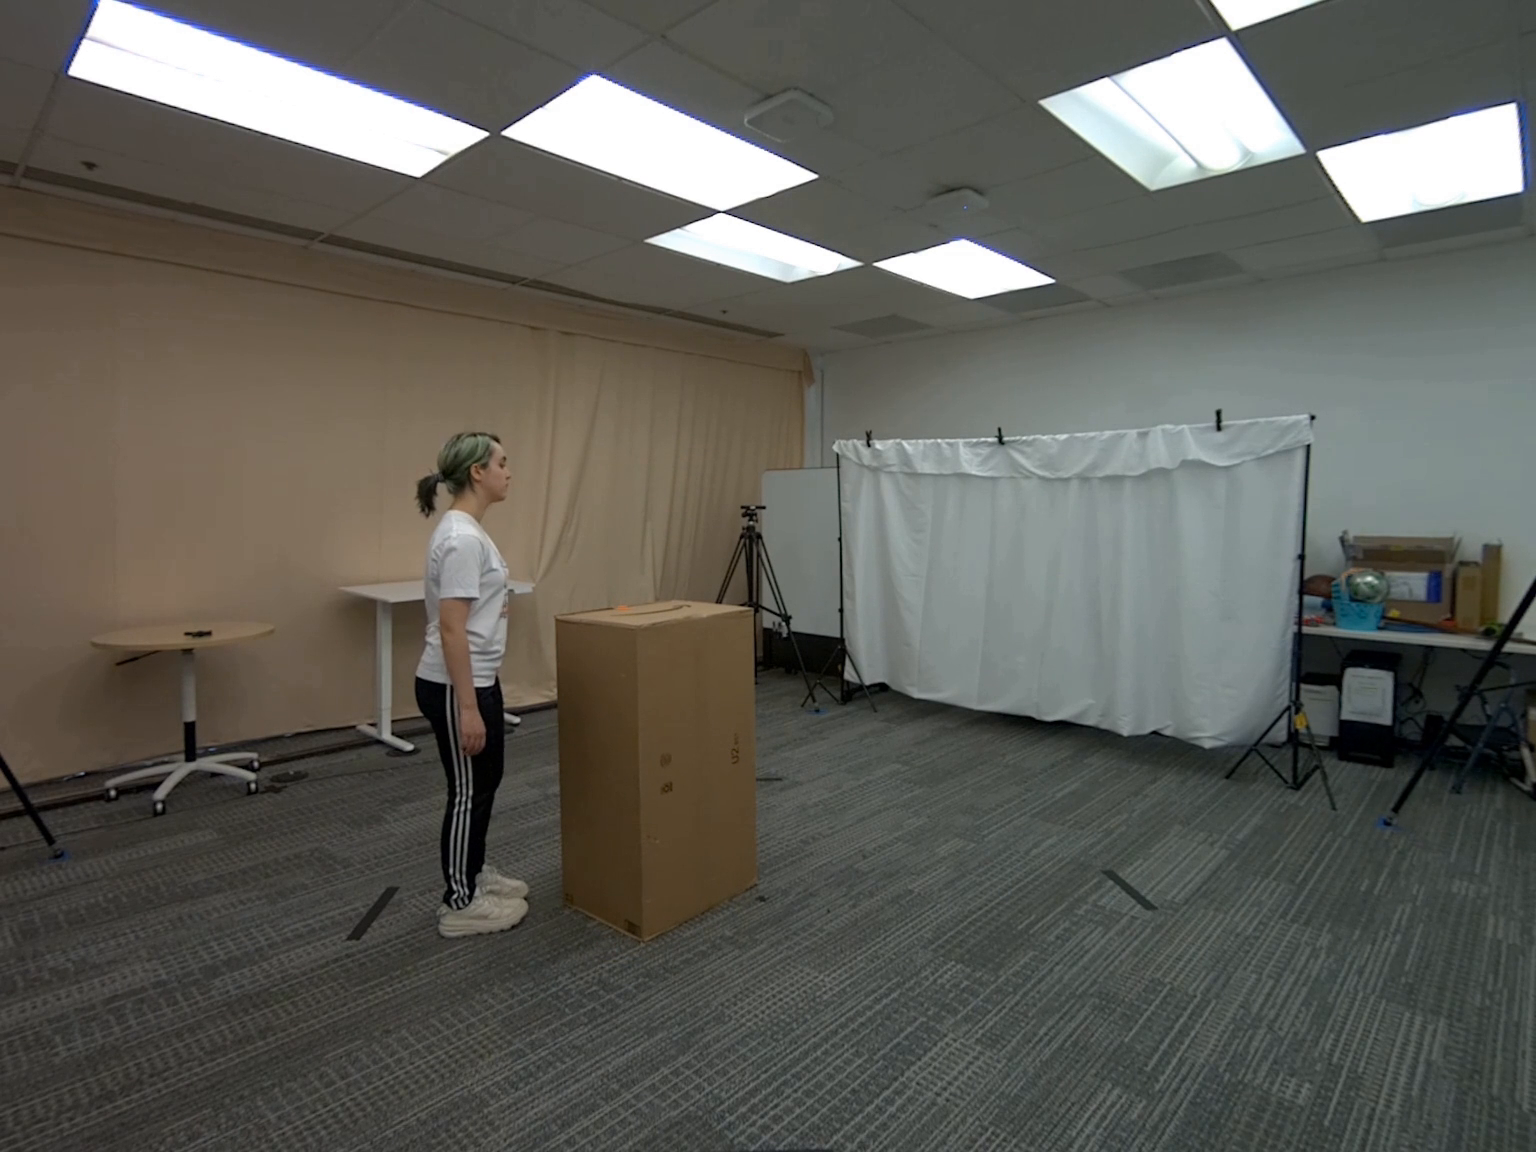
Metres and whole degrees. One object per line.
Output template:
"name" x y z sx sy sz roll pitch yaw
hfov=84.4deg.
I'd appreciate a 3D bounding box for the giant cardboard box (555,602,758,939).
"giant cardboard box" -0.388 0.637 3.007 0.461 1.024 0.566 3 5 40
